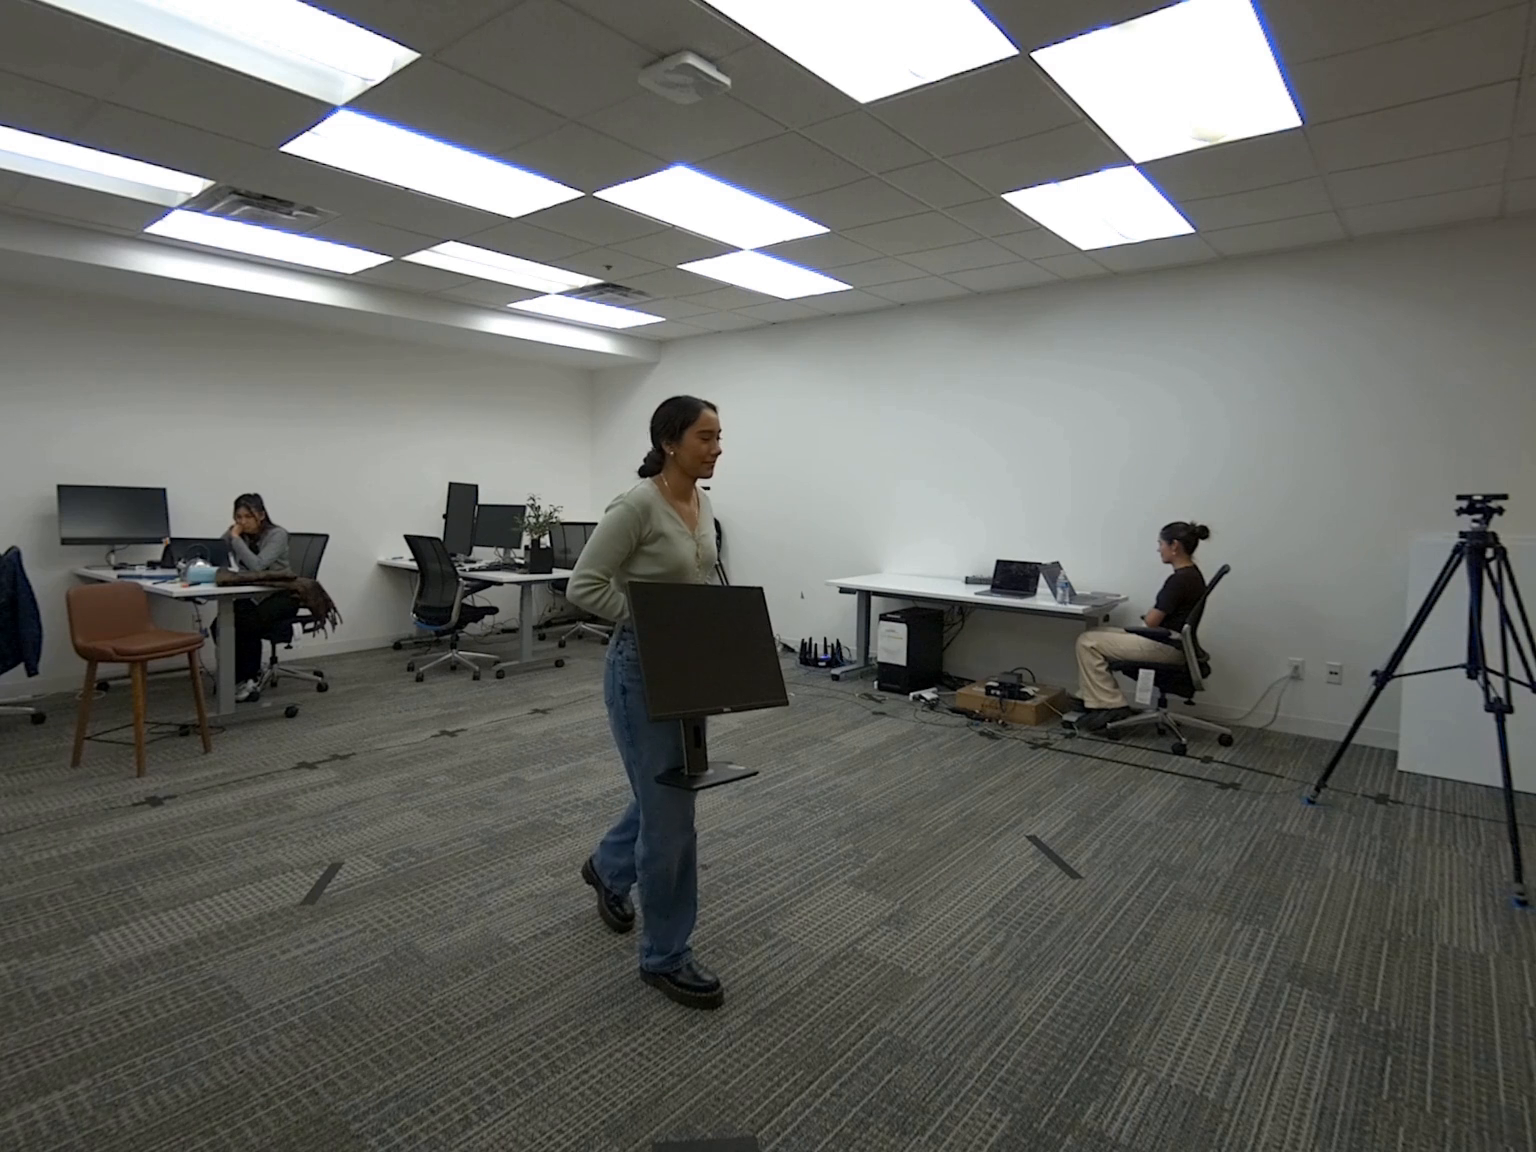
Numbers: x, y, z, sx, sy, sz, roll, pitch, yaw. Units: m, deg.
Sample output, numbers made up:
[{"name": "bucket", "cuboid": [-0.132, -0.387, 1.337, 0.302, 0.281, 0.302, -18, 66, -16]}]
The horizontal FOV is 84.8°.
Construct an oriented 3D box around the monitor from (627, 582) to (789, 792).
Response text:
[{"name": "monitor", "cuboid": [-0.178, 0.275, 2.279, 0.180, 0.517, 0.512, 1, -3, 39]}]
